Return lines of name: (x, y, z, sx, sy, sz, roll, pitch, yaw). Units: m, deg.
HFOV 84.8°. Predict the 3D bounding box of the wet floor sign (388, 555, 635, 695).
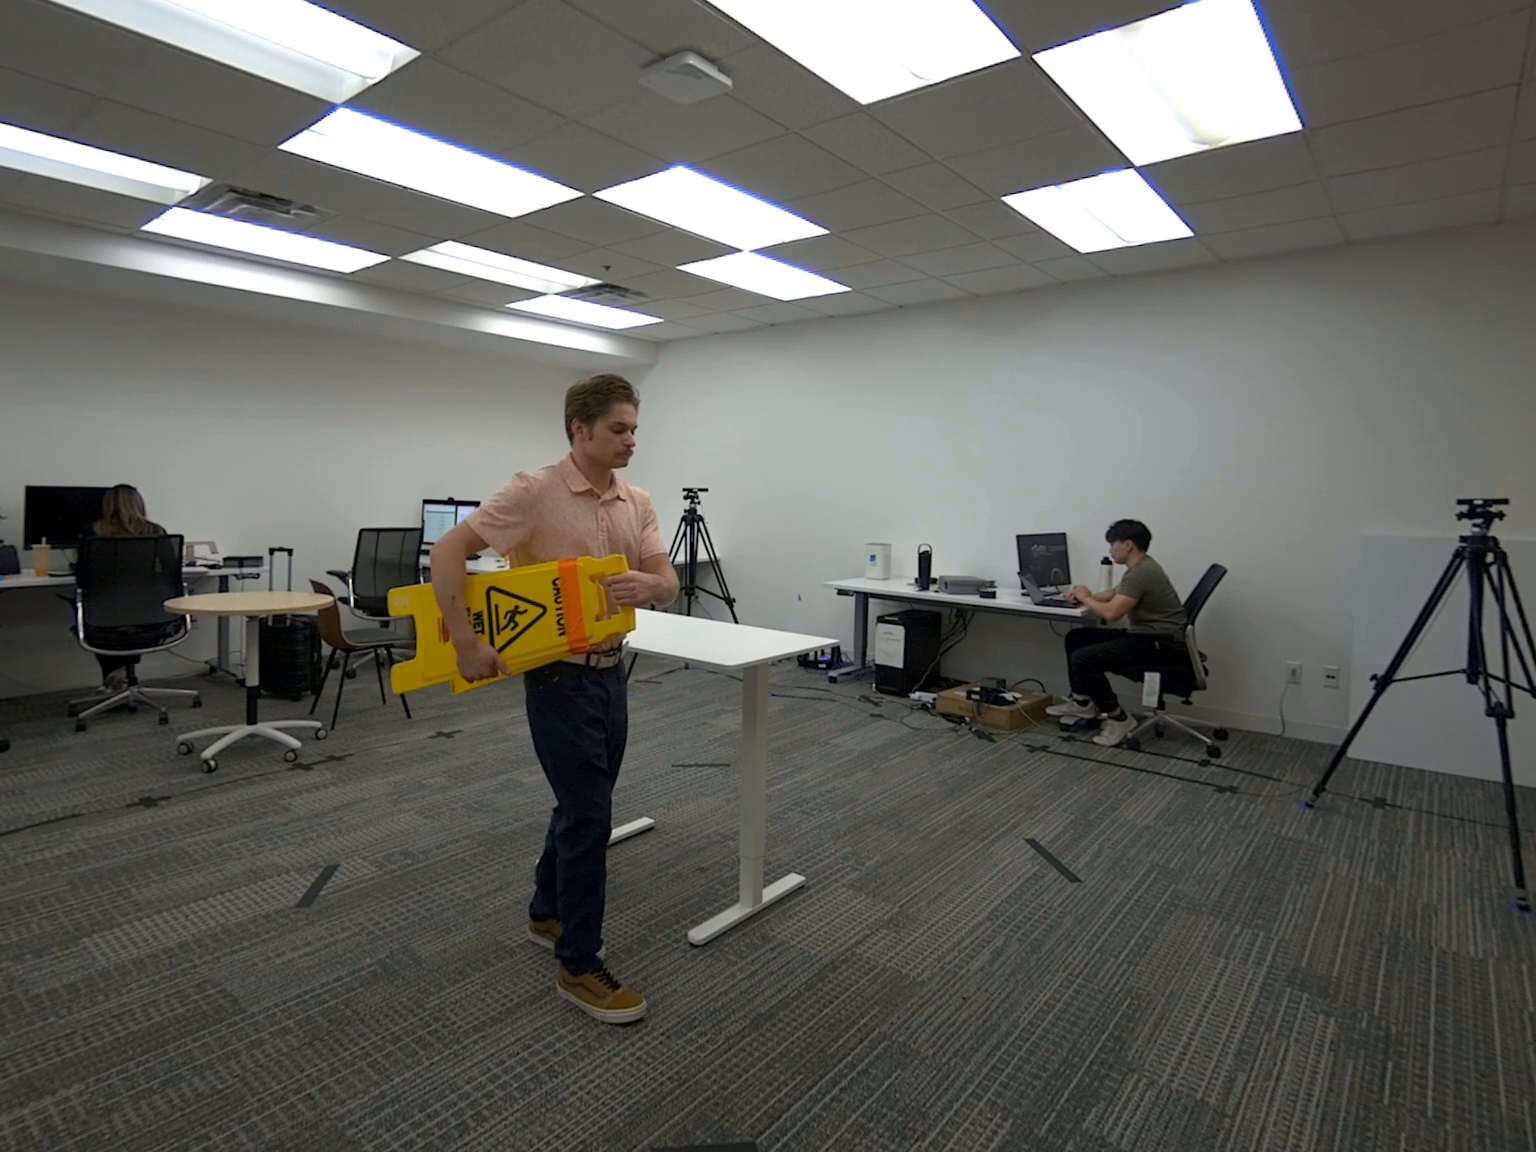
wet floor sign: (-0.663, 0.118, 2.208, 0.655, 0.286, 0.282, -14, -12, 17)
